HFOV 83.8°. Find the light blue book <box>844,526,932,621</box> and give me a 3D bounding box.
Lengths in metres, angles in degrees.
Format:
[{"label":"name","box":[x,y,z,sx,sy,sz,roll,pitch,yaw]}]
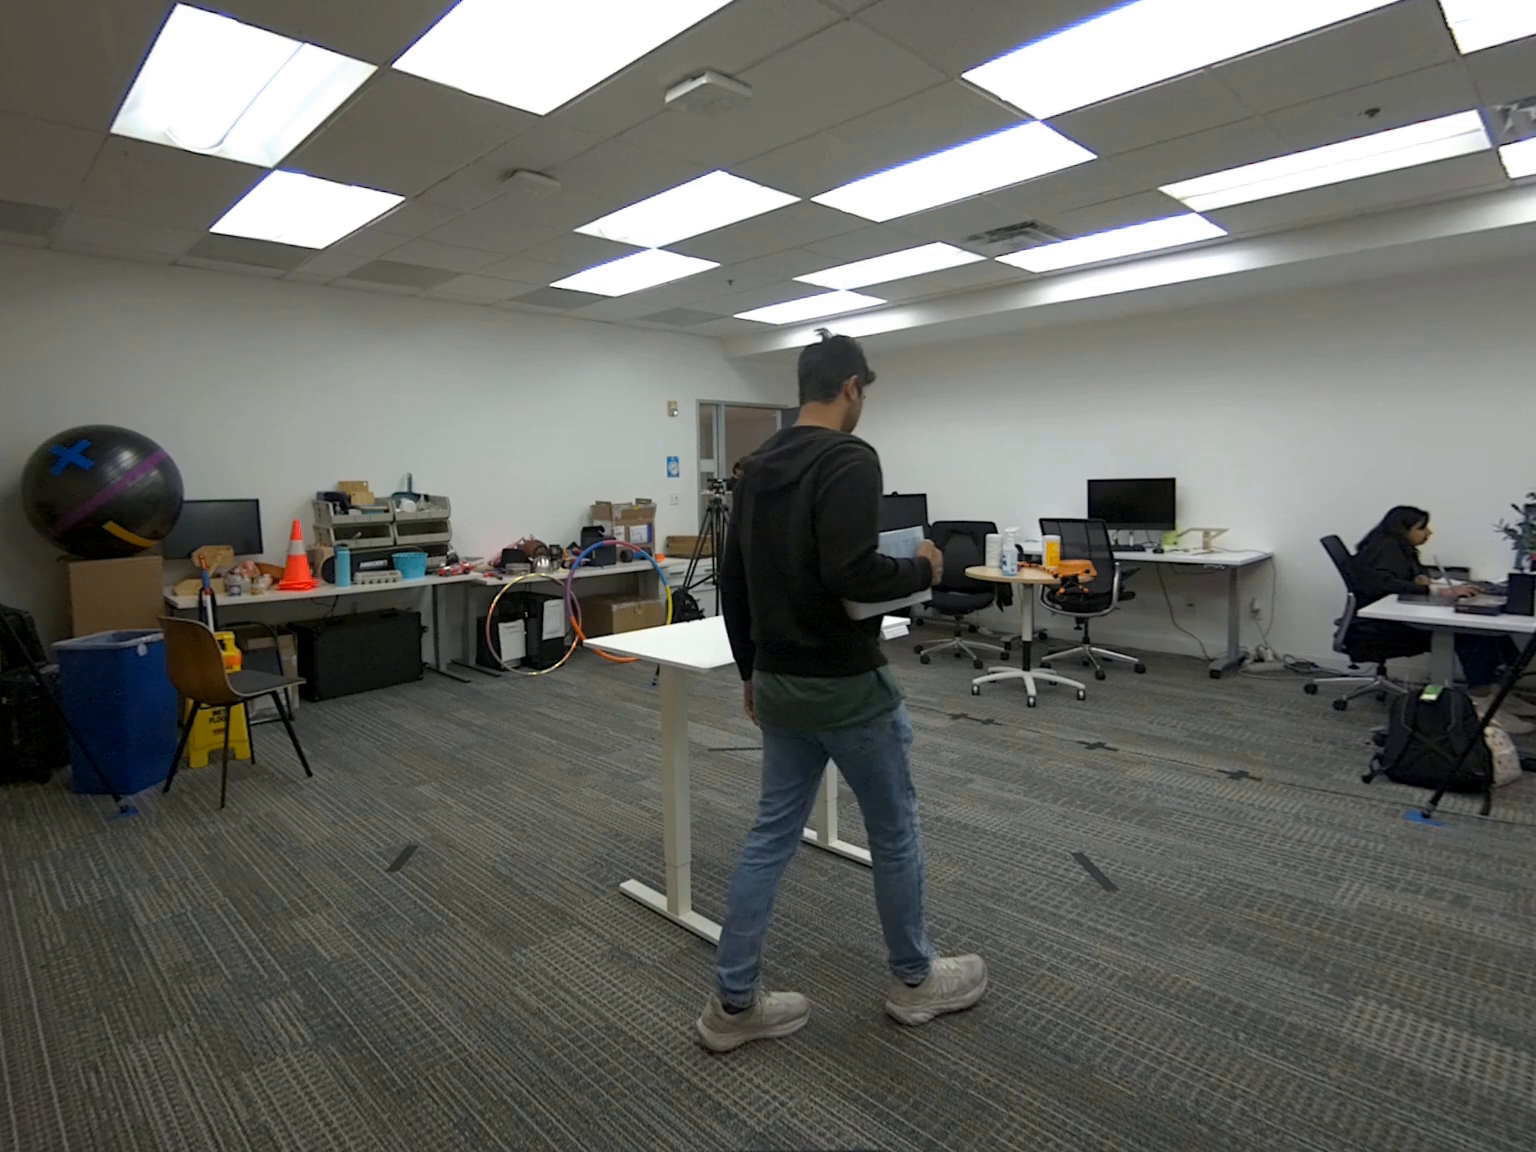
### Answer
[{"label":"light blue book","box":[0.272,-0.015,2.108,0.256,0.192,0.060,-9,-4,-24]}]
